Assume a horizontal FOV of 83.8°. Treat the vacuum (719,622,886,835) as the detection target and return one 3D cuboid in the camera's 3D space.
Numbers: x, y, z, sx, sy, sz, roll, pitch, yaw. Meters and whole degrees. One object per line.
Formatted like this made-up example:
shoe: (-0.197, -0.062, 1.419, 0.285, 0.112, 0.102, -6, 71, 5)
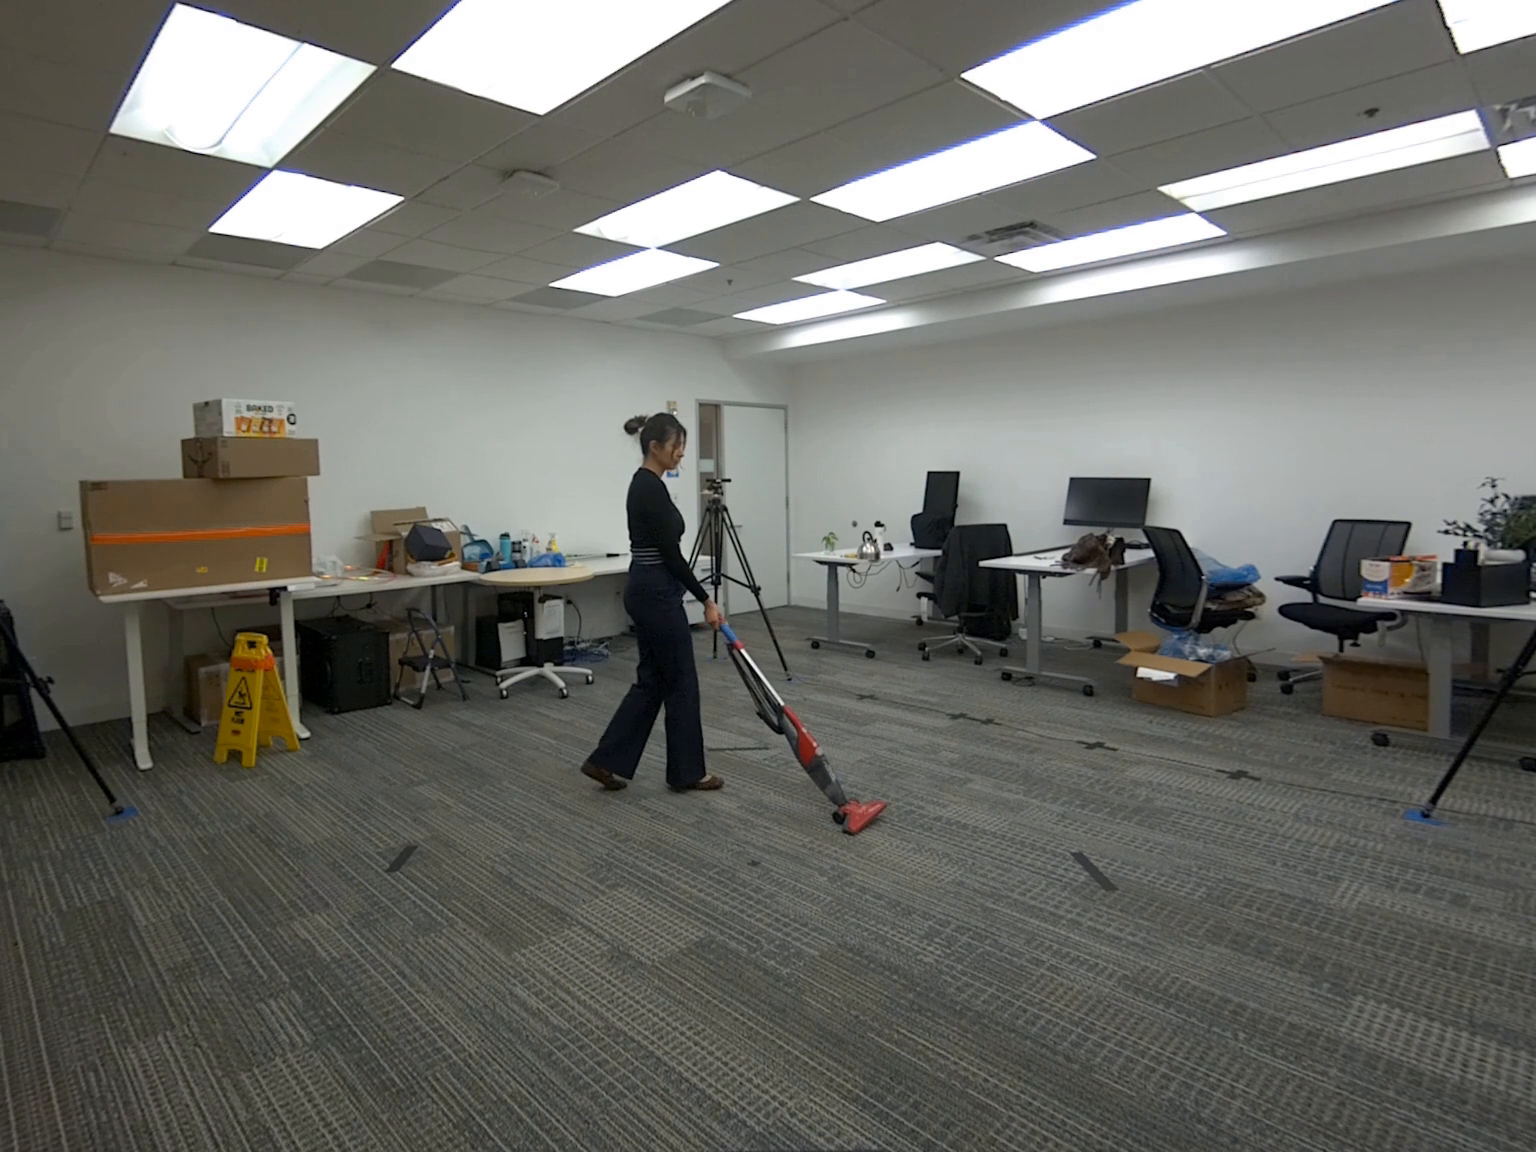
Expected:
vacuum: (0.054, 0.580, 3.611, 0.247, 1.073, 0.144, -15, -28, -51)
